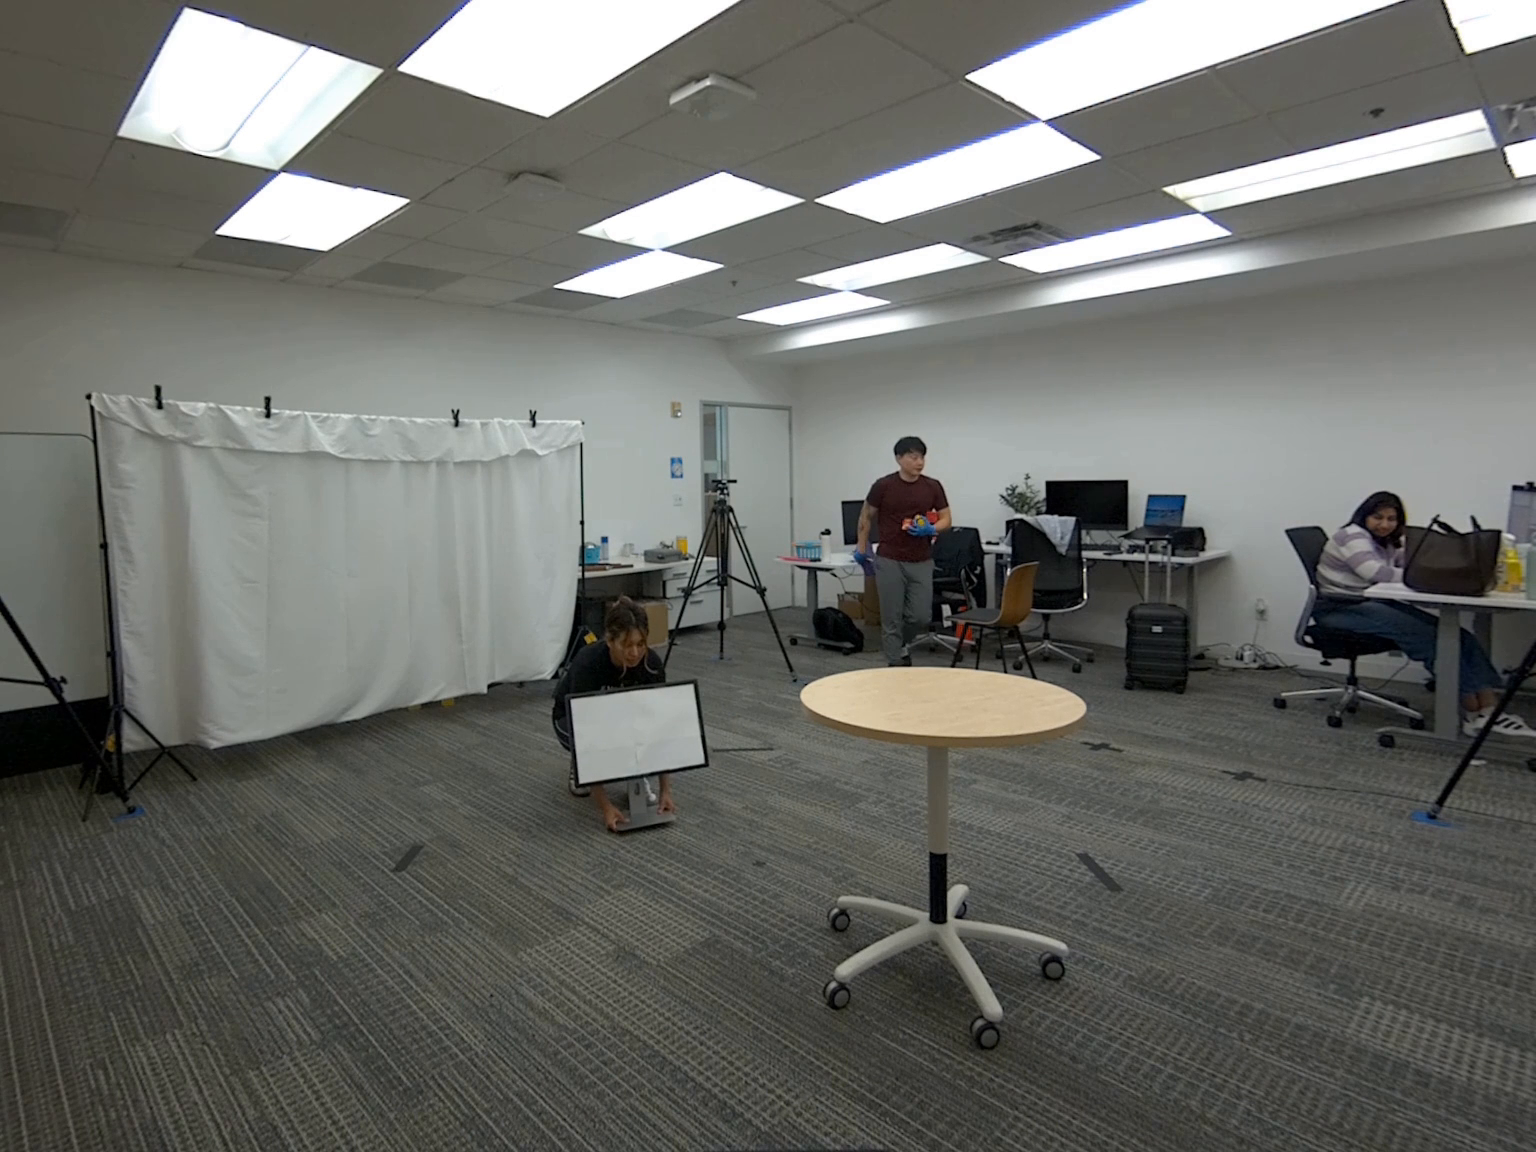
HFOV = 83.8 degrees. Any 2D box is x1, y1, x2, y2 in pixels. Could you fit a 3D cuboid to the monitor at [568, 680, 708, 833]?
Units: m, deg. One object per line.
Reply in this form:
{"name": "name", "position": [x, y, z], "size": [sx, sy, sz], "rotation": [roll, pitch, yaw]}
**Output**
{"name": "monitor", "position": [-0.537, 0.730, 3.498], "size": [0.528, 0.523, 0.191], "rotation": [-4, -1, -25]}
